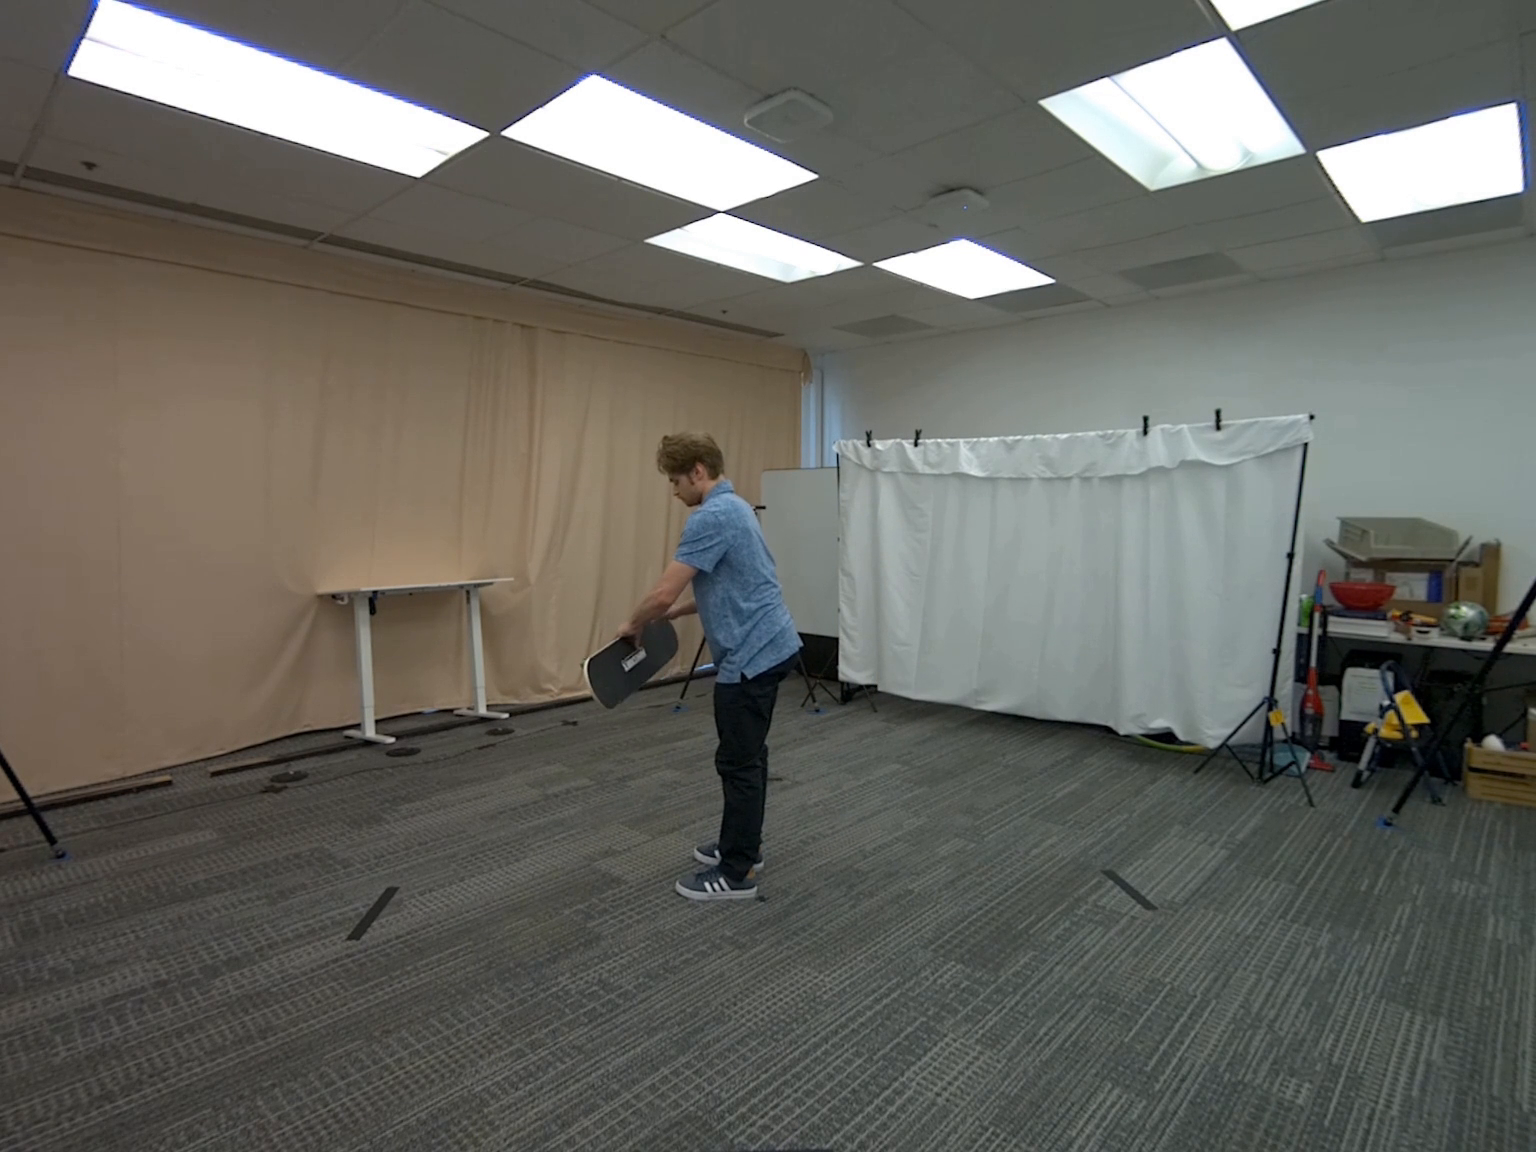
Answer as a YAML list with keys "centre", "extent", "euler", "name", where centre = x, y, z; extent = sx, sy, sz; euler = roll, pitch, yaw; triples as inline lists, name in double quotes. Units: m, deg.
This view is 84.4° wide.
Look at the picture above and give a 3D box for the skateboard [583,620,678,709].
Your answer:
- centre: [-0.512, 0.321, 3.101]
  extent: [0.112, 0.193, 0.779]
  euler: [-24, 5, 16]
  name: "skateboard"
